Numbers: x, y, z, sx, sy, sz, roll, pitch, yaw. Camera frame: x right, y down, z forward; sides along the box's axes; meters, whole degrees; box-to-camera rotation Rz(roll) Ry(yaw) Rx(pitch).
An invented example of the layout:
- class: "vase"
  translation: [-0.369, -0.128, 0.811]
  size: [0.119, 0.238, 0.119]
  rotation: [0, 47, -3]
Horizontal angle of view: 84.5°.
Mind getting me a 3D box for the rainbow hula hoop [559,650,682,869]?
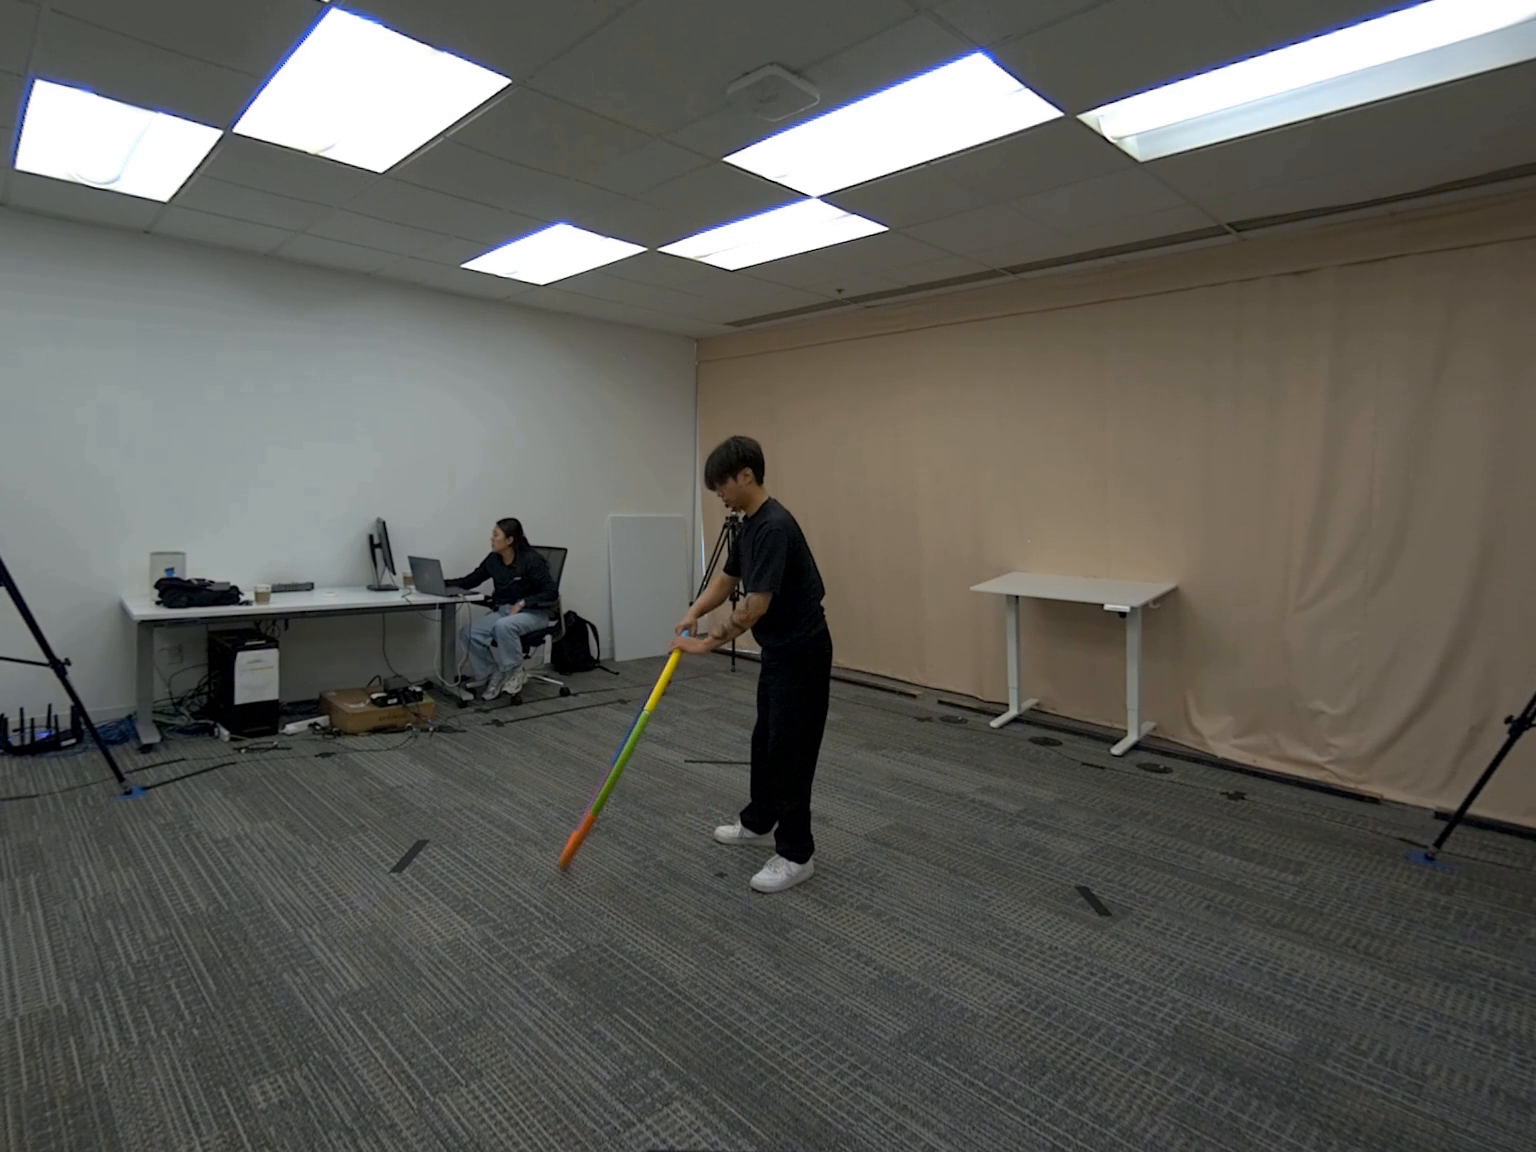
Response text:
- class: "rainbow hula hoop"
  translation: [-0.550, 0.653, 3.234]
  size: [0.035, 0.977, 0.982]
  rotation: [29, 4, -4]
